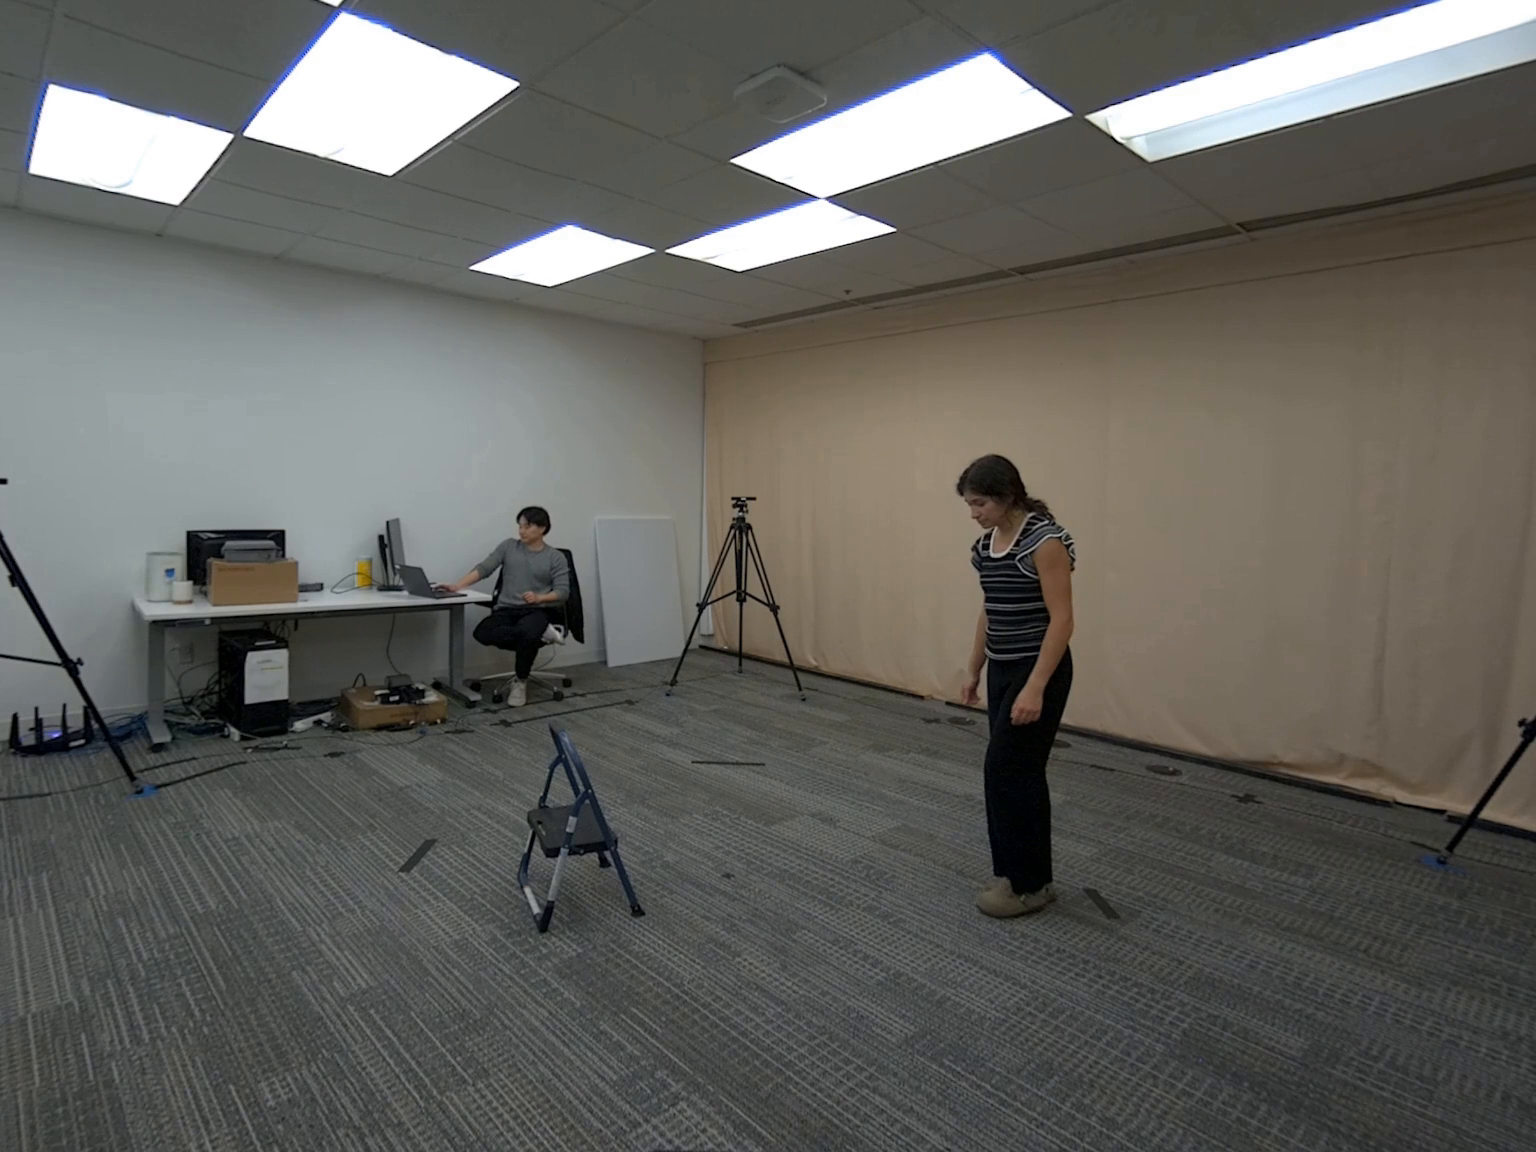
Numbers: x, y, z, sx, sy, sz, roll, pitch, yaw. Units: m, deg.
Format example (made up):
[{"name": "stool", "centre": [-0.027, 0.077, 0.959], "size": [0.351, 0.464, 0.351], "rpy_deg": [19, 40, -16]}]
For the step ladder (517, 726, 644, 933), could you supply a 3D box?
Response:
[{"name": "step ladder", "centre": [-0.656, 0.808, 2.904], "size": [0.343, 0.605, 0.439], "rpy_deg": [-1, 4, -26]}]
